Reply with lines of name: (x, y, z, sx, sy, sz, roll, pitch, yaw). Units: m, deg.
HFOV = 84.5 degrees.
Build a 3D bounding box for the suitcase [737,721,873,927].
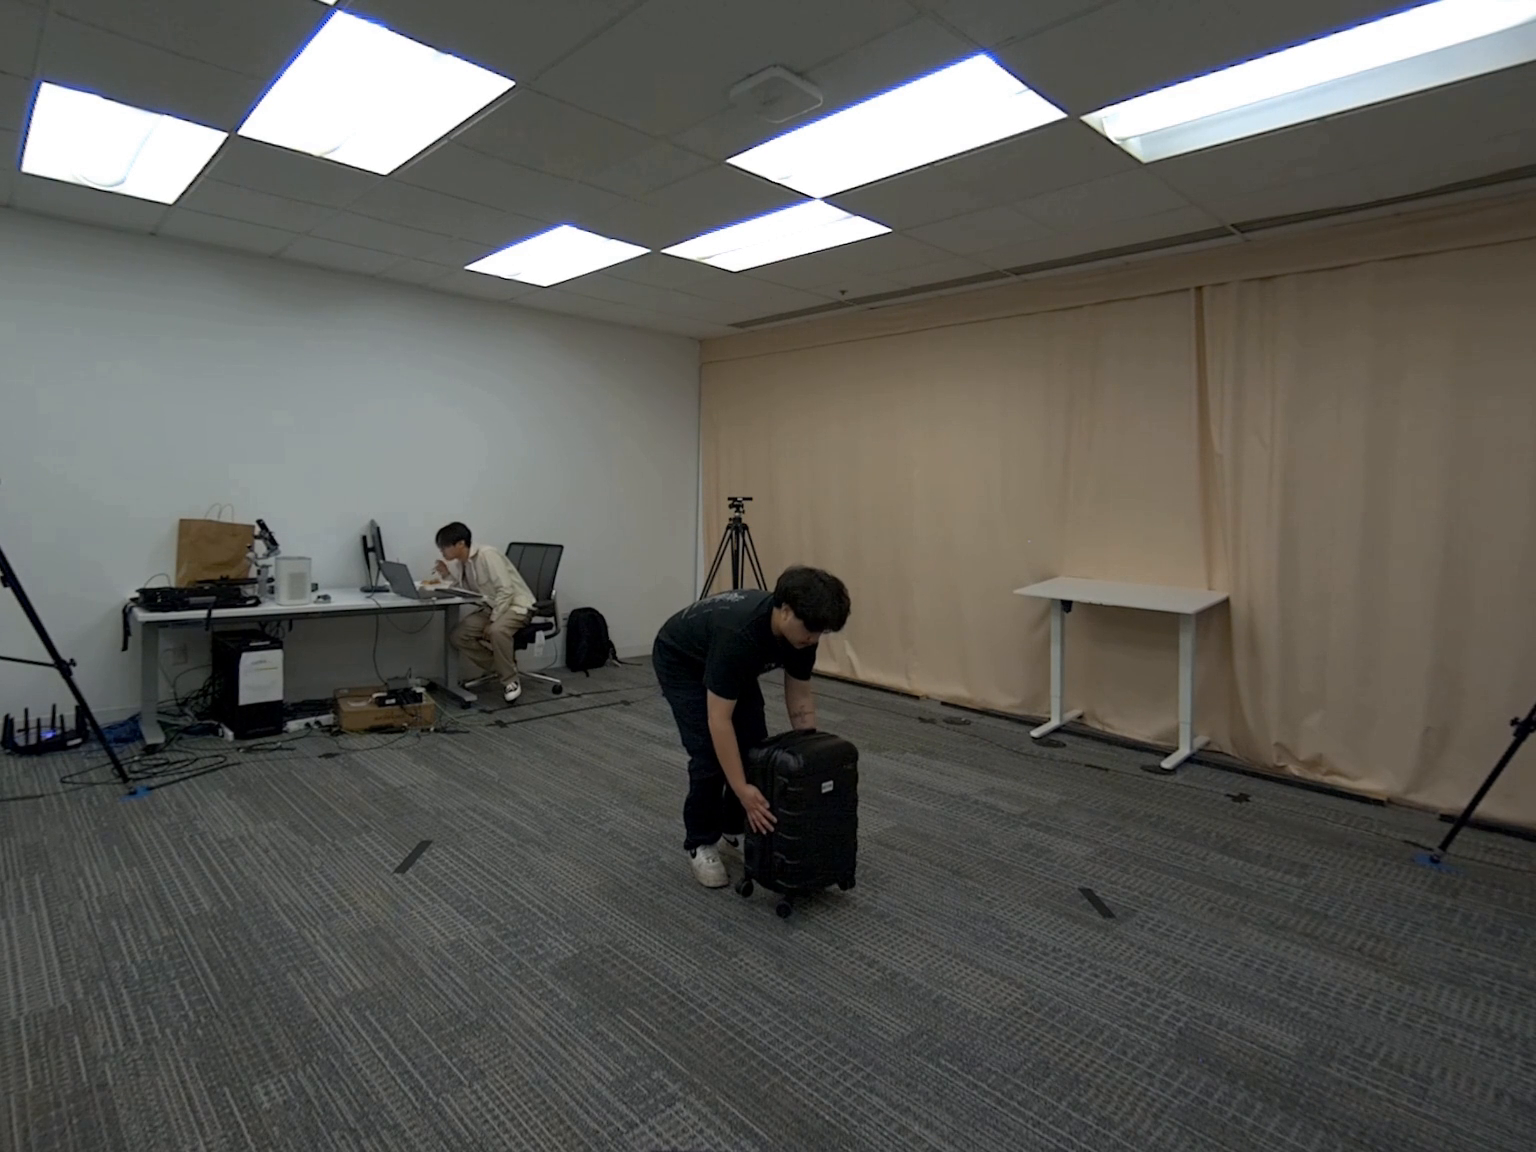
suitcase: (0.126, 0.823, 2.901, 0.367, 0.548, 0.255, -2, 5, -42)
